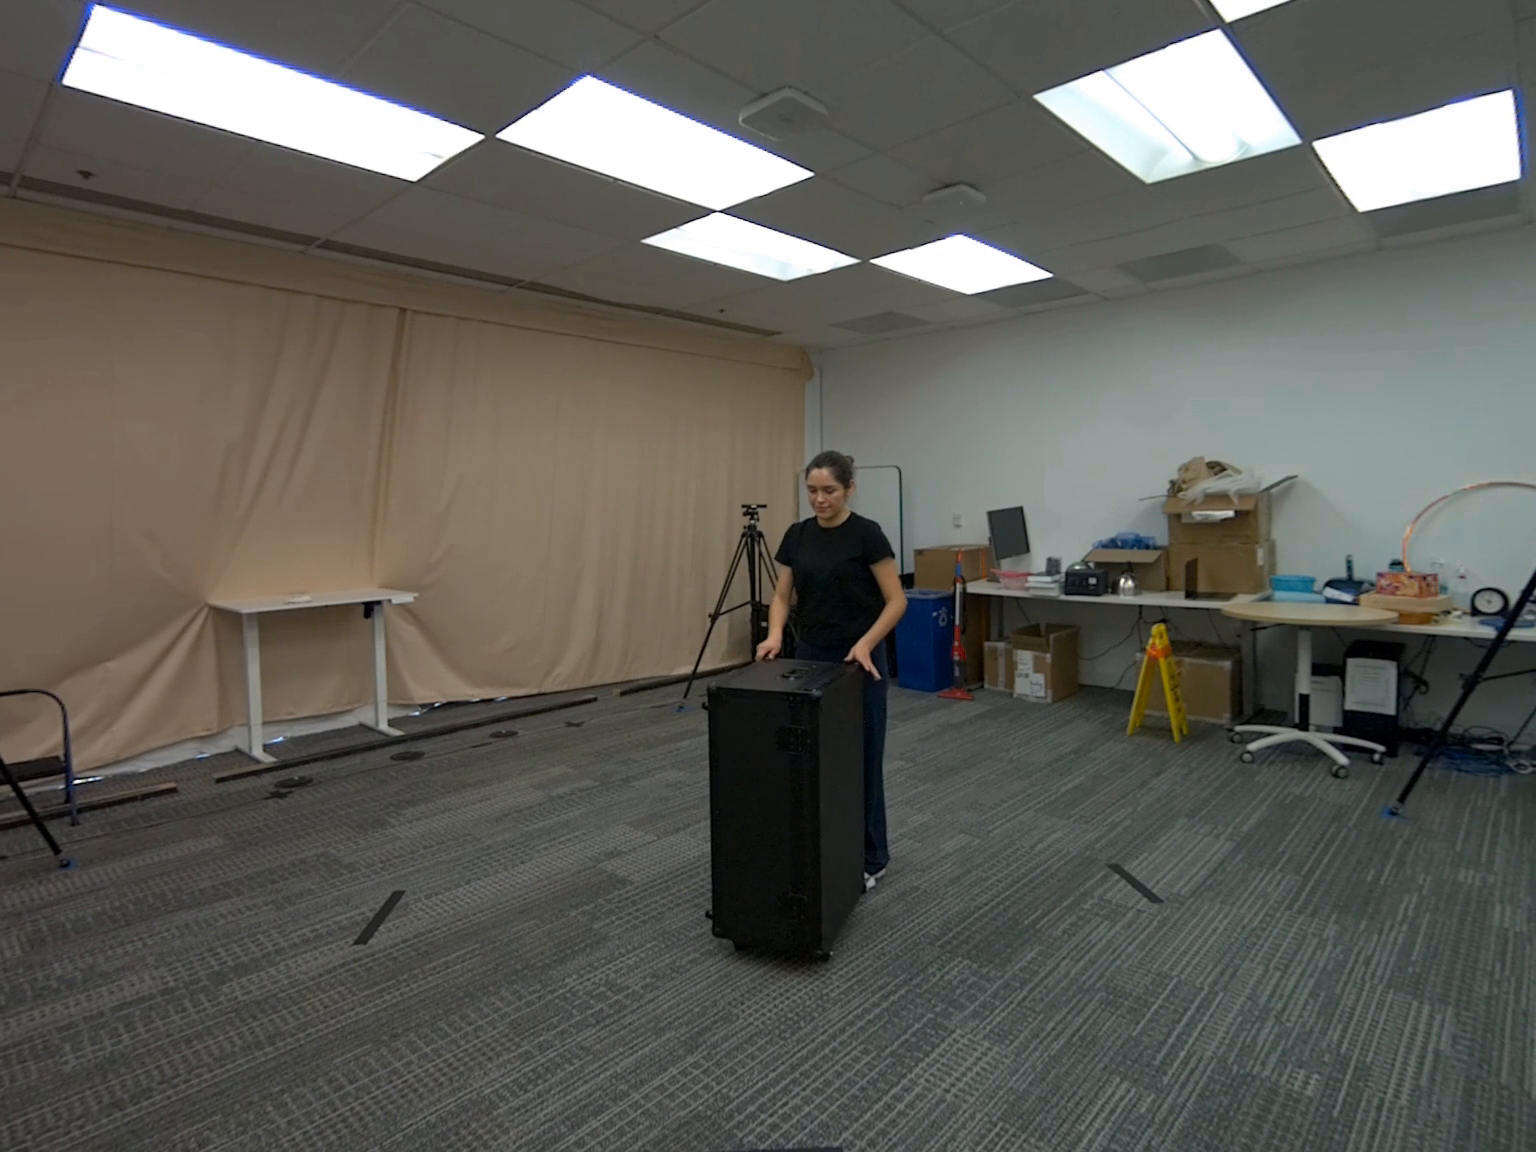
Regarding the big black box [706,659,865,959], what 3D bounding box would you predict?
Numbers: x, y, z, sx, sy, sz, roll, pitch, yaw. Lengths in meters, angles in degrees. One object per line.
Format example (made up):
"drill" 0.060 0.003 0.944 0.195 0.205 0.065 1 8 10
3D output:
"big black box" 0.076 0.741 2.709 0.405 0.860 0.510 0 3 22
